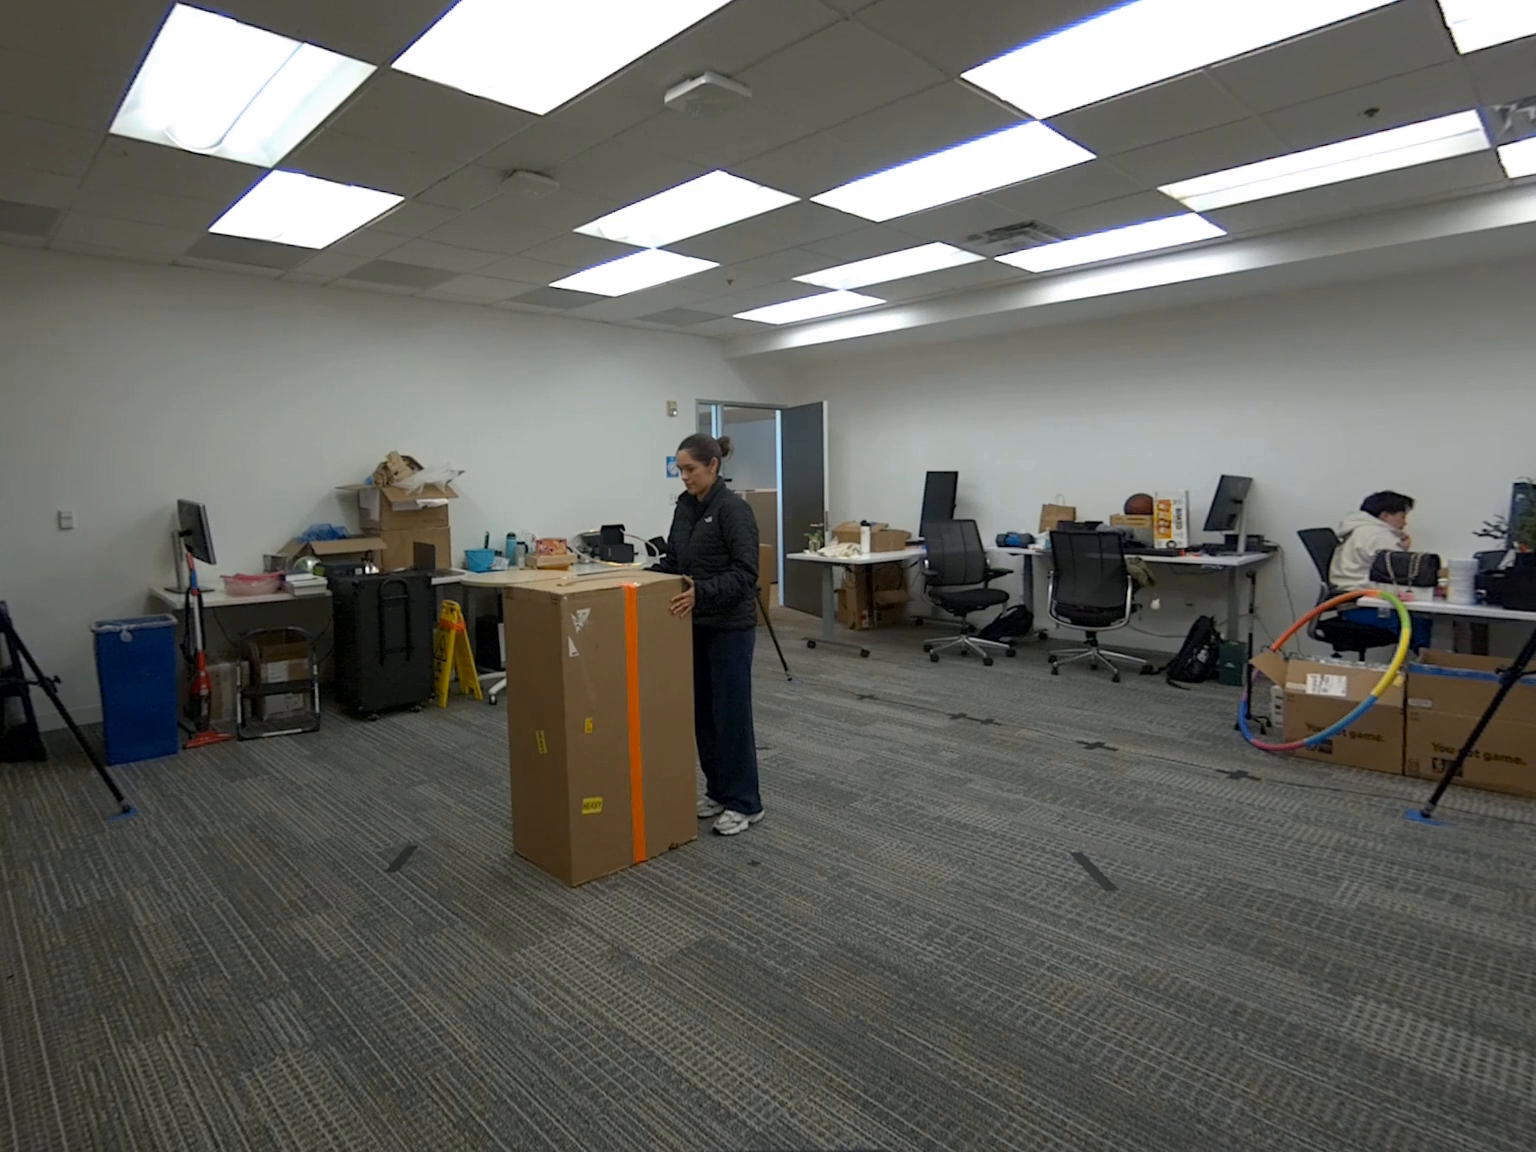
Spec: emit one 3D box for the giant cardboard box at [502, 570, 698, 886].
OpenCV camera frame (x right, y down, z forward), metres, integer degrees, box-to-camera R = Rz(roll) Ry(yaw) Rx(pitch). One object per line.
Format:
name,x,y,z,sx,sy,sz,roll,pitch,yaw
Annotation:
giant cardboard box,-0.637,0.529,3.252,0.562,1.022,0.439,-5,6,-43
